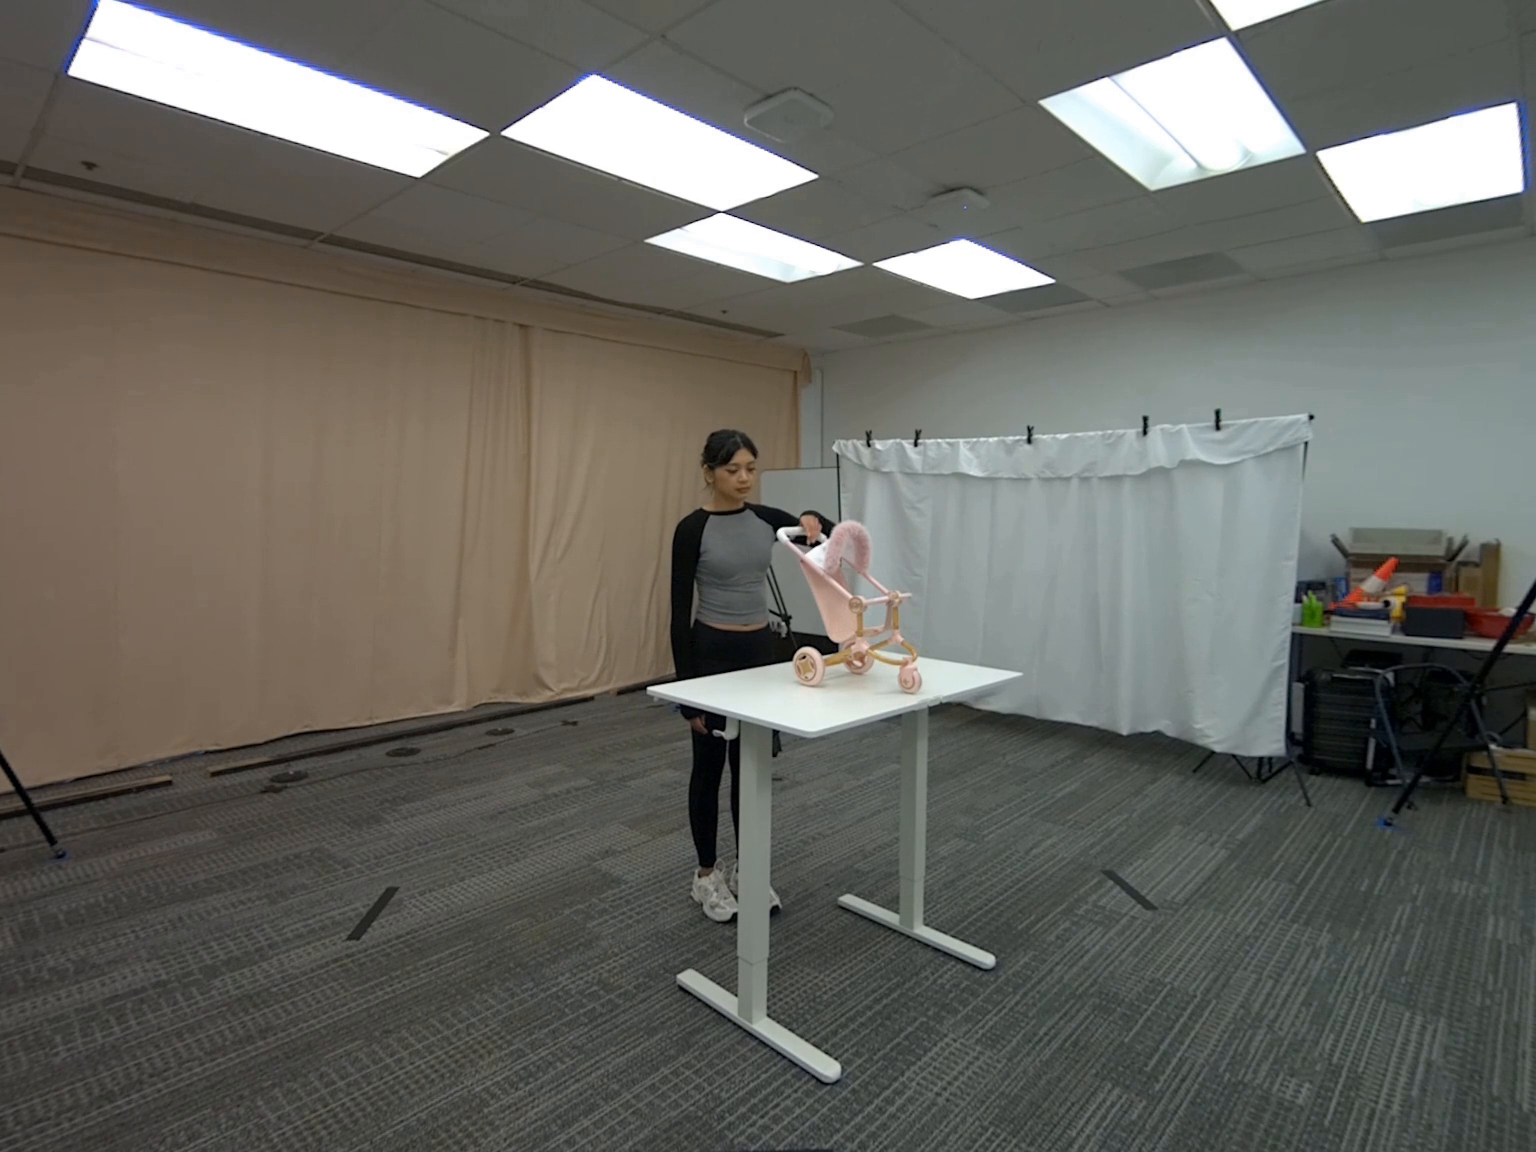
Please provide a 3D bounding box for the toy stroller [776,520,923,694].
[{"bbox_3d":[0.247,0.086,2.398,0.273,0.538,0.350,-5,-8,-44],"label":"toy stroller"}]
